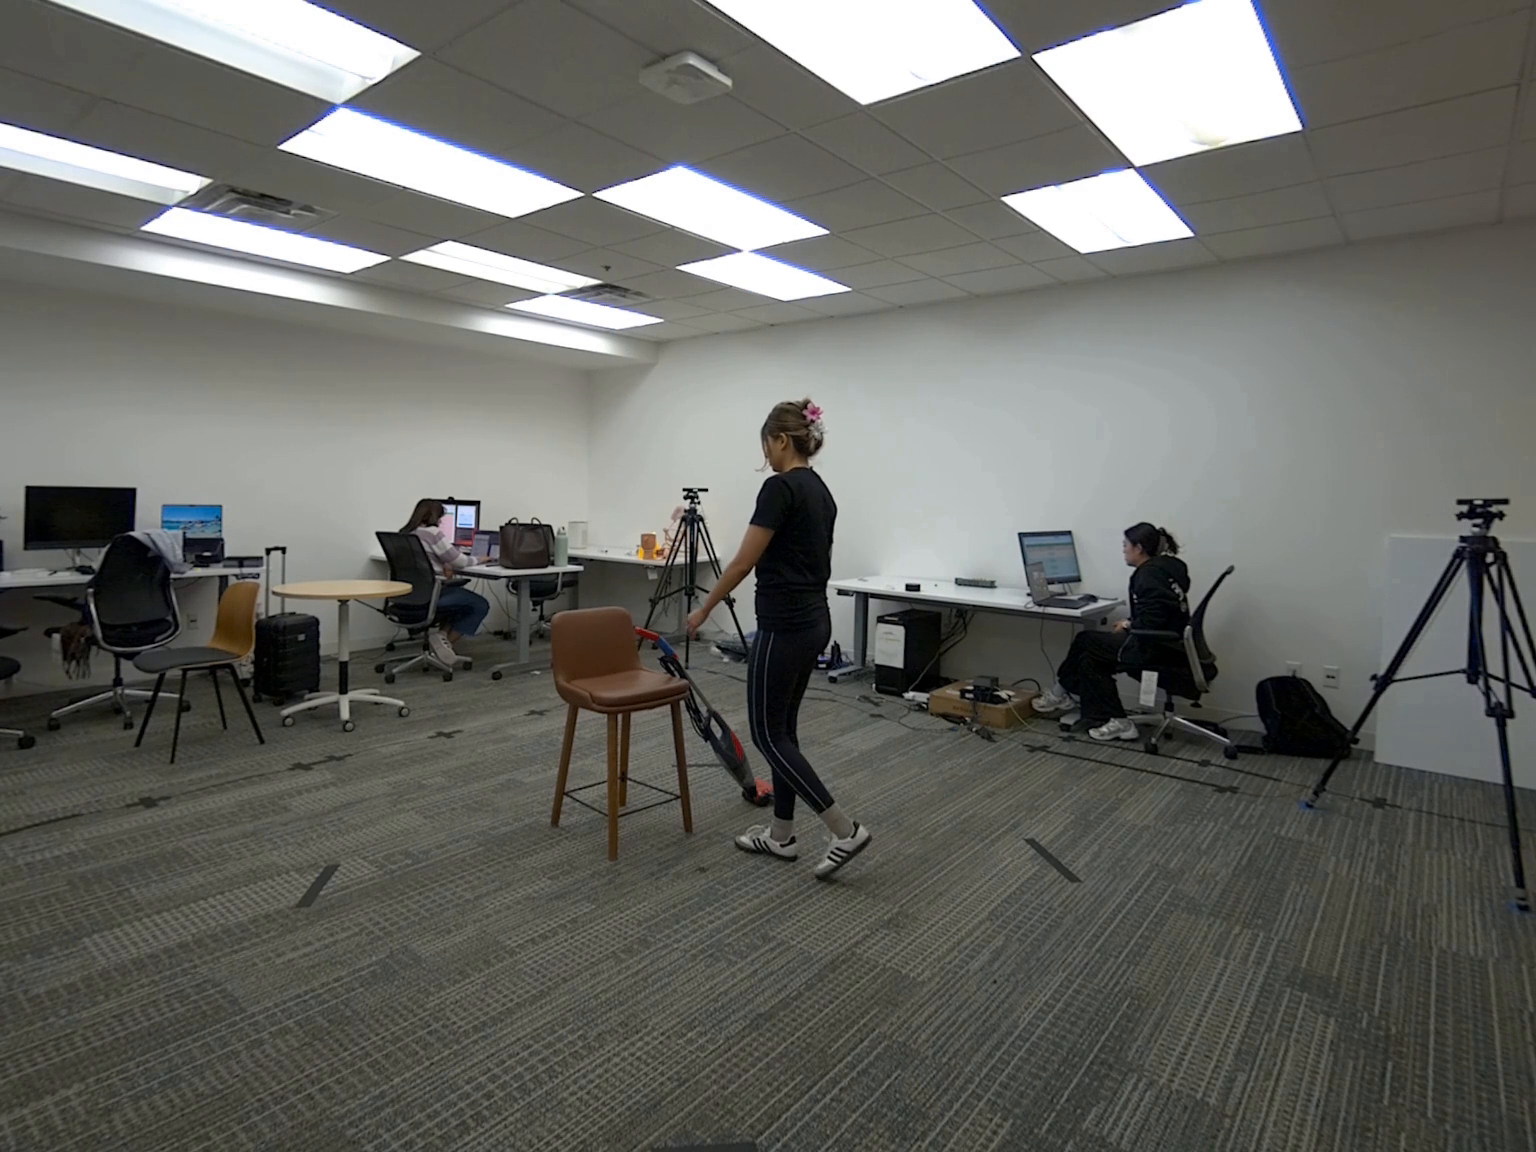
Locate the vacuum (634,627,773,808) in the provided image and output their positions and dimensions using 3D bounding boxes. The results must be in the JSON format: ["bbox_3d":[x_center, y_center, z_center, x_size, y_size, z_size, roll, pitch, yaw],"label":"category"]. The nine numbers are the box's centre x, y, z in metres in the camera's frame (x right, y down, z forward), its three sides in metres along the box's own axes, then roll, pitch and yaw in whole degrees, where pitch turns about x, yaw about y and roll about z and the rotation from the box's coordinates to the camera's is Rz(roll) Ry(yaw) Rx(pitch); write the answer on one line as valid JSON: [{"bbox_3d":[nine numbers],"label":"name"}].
[{"bbox_3d":[-0.270,0.601,3.615,0.260,1.016,0.144,-1,40,48],"label":"vacuum"}]
